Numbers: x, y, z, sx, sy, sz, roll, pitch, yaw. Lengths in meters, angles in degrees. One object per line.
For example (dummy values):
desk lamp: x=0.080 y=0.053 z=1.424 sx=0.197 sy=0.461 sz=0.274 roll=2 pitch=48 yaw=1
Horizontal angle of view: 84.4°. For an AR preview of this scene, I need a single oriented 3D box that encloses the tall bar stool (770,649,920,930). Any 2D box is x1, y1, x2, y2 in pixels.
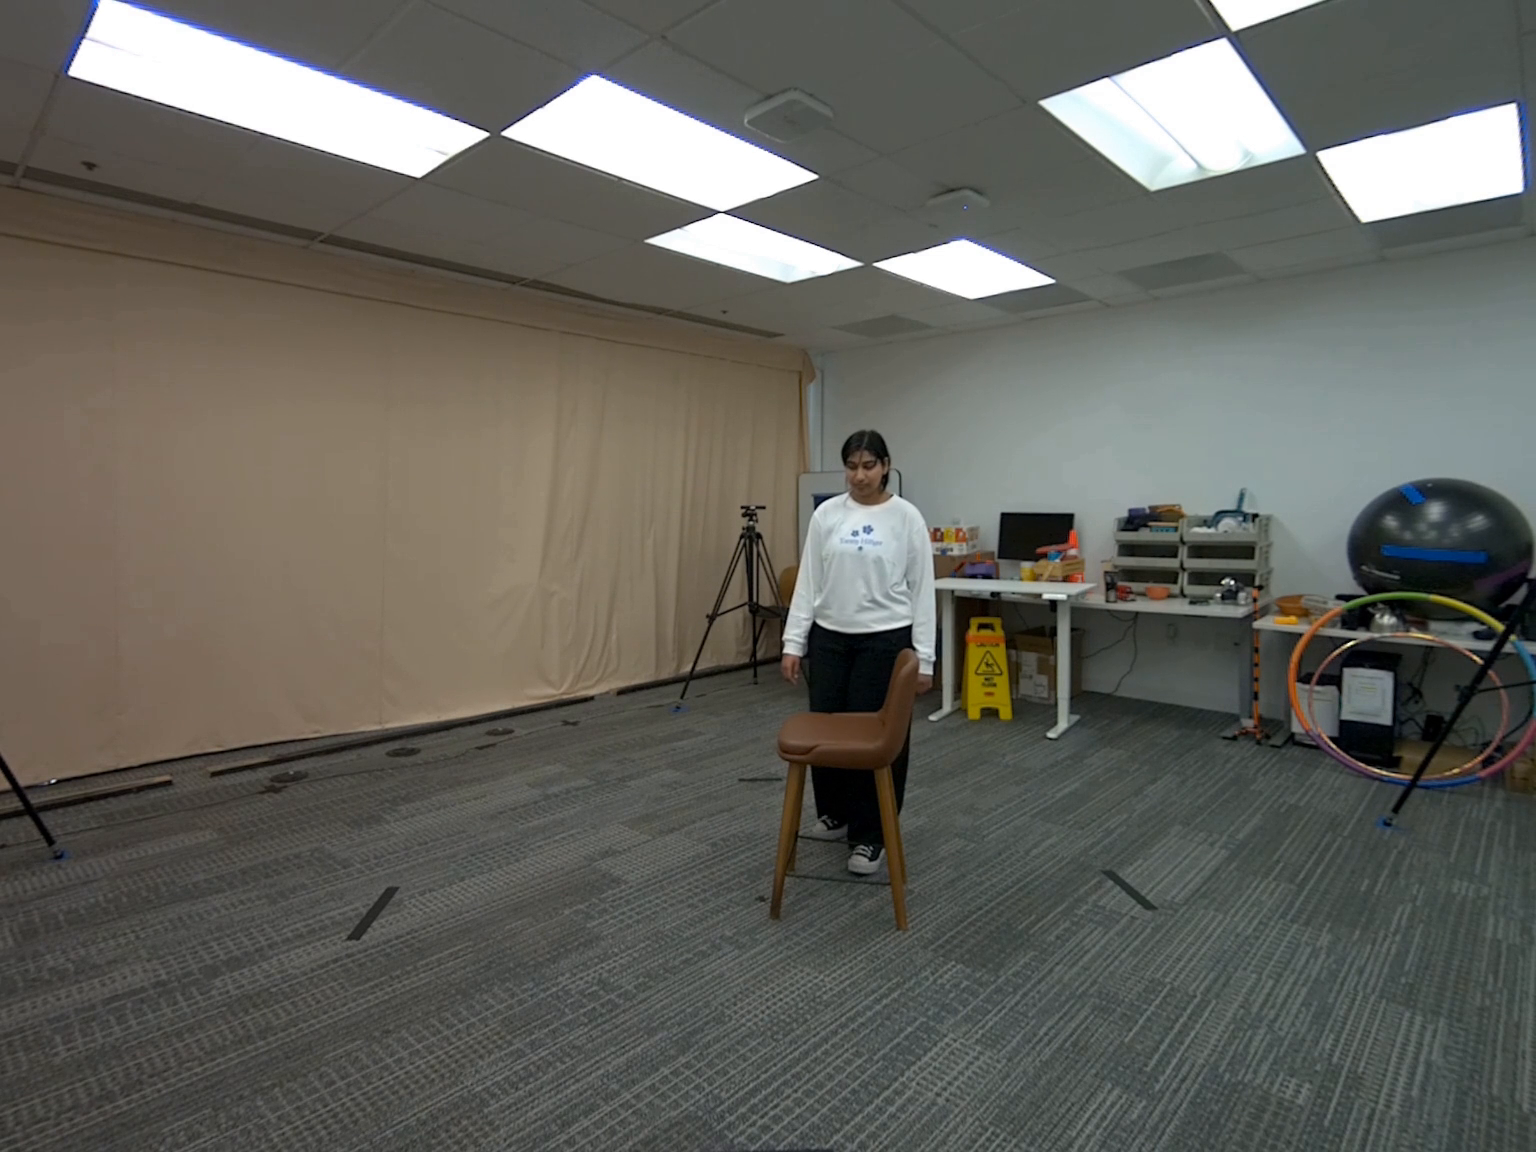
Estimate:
tall bar stool: x=0.269 y=0.712 z=2.962 sx=0.474 sy=0.888 sz=0.451 roll=2 pitch=3 yaw=12
